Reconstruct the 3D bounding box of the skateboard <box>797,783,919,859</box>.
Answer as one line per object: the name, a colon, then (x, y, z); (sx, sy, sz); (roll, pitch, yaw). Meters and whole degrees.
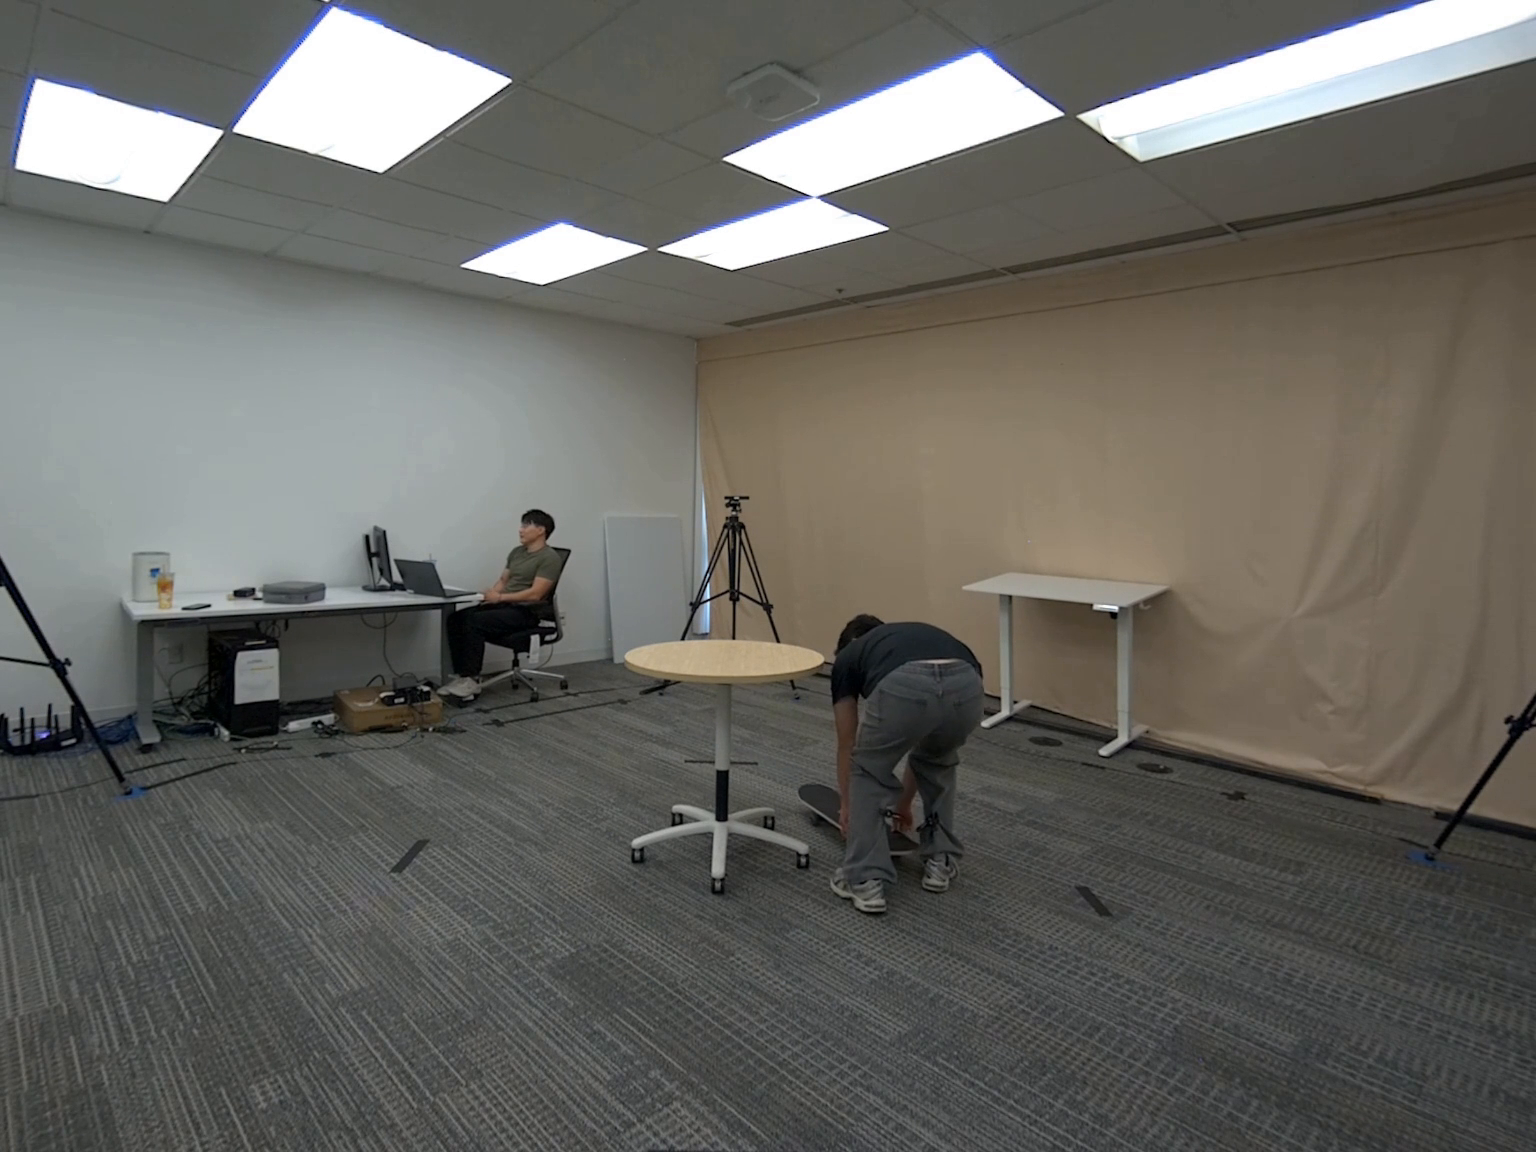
skateboard: (0.350, 1.028, 3.461); (0.190, 0.110, 0.802); (-1, 6, -25)
